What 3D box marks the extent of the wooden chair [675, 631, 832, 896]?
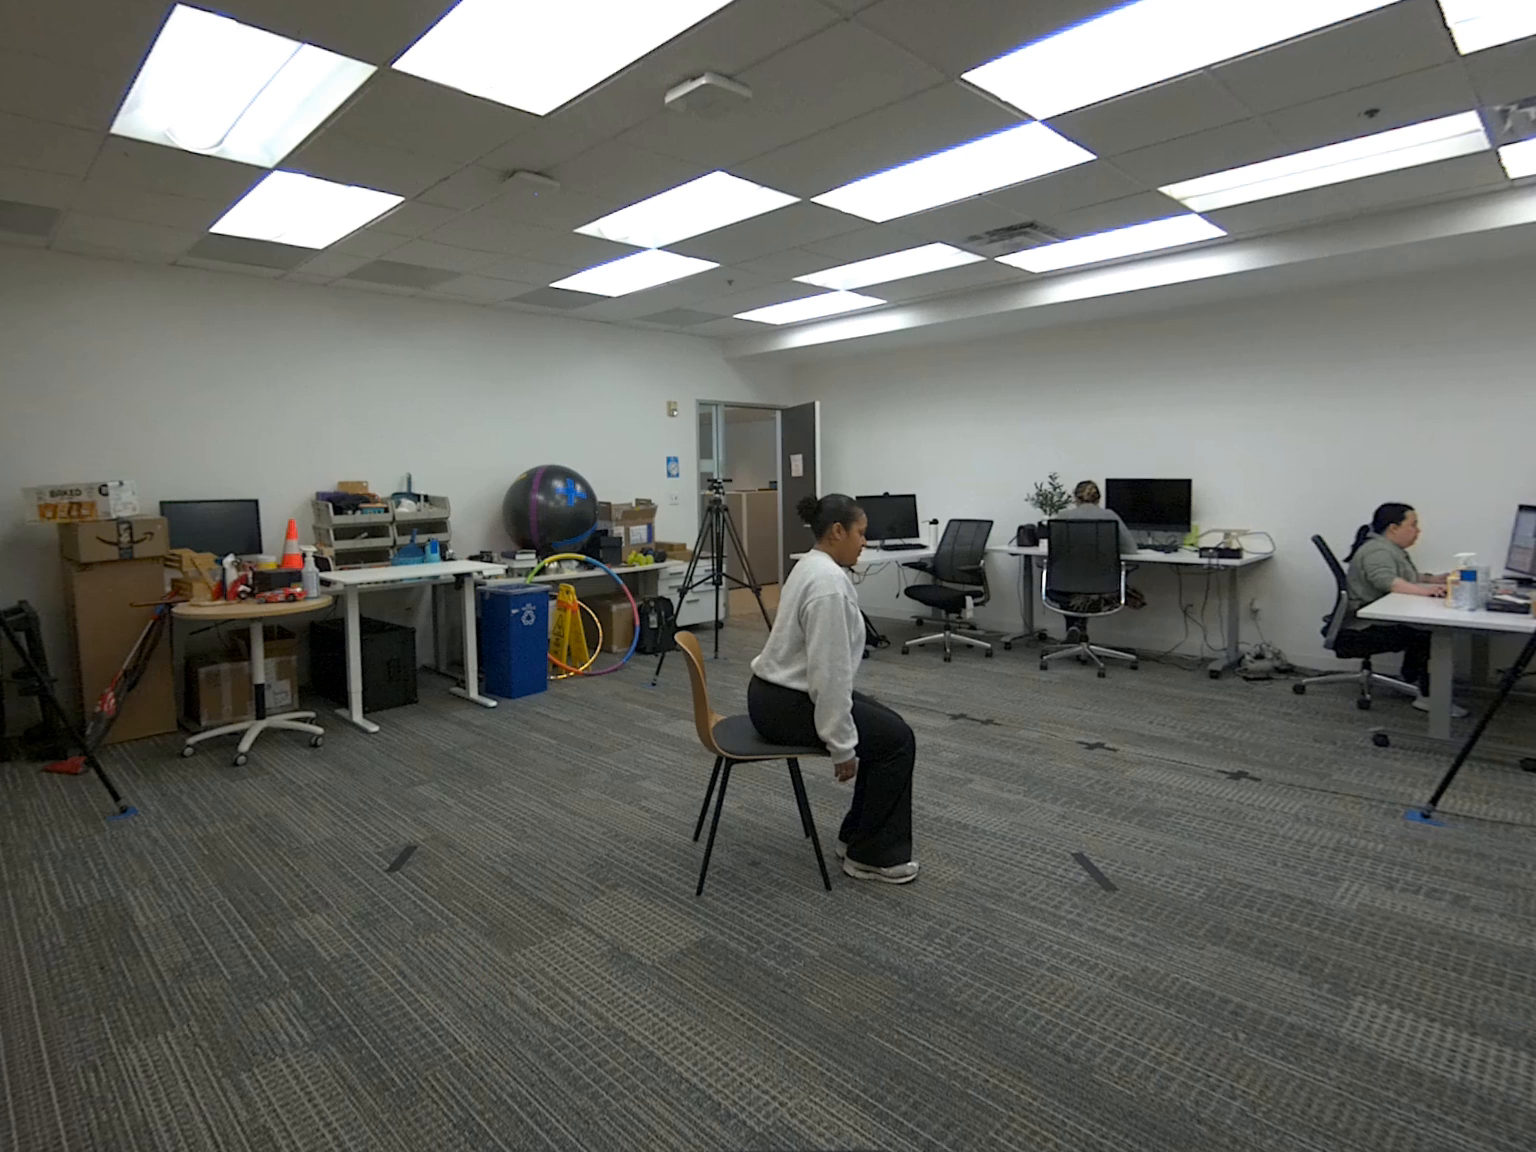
[{"bbox_3d":[-0.036,0.619,3.070,0.521,0.874,0.482,-5,4,-5],"label":"wooden chair"}]
